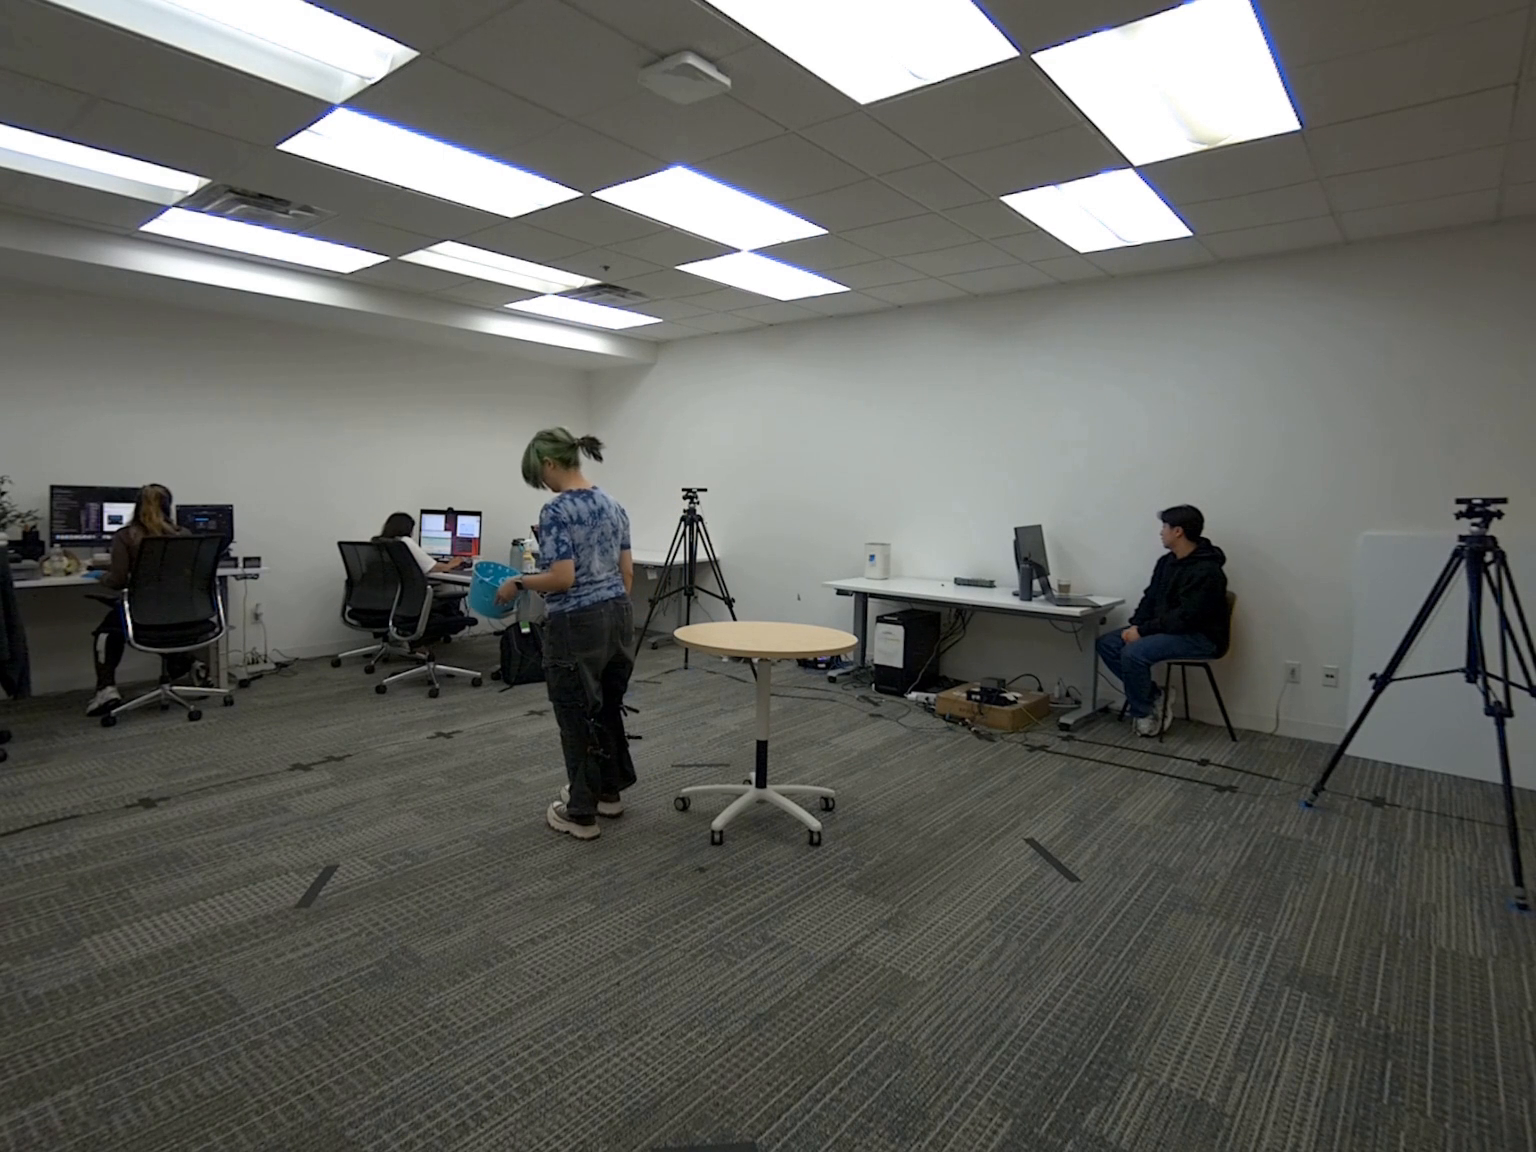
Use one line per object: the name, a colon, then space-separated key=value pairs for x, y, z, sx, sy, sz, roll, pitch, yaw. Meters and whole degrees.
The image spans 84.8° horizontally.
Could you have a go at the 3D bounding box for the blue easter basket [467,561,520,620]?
blue easter basket: x=-1.126 y=0.063 z=3.454 sx=0.241 sy=0.155 sz=0.248 roll=22 pitch=16 yaw=-8
